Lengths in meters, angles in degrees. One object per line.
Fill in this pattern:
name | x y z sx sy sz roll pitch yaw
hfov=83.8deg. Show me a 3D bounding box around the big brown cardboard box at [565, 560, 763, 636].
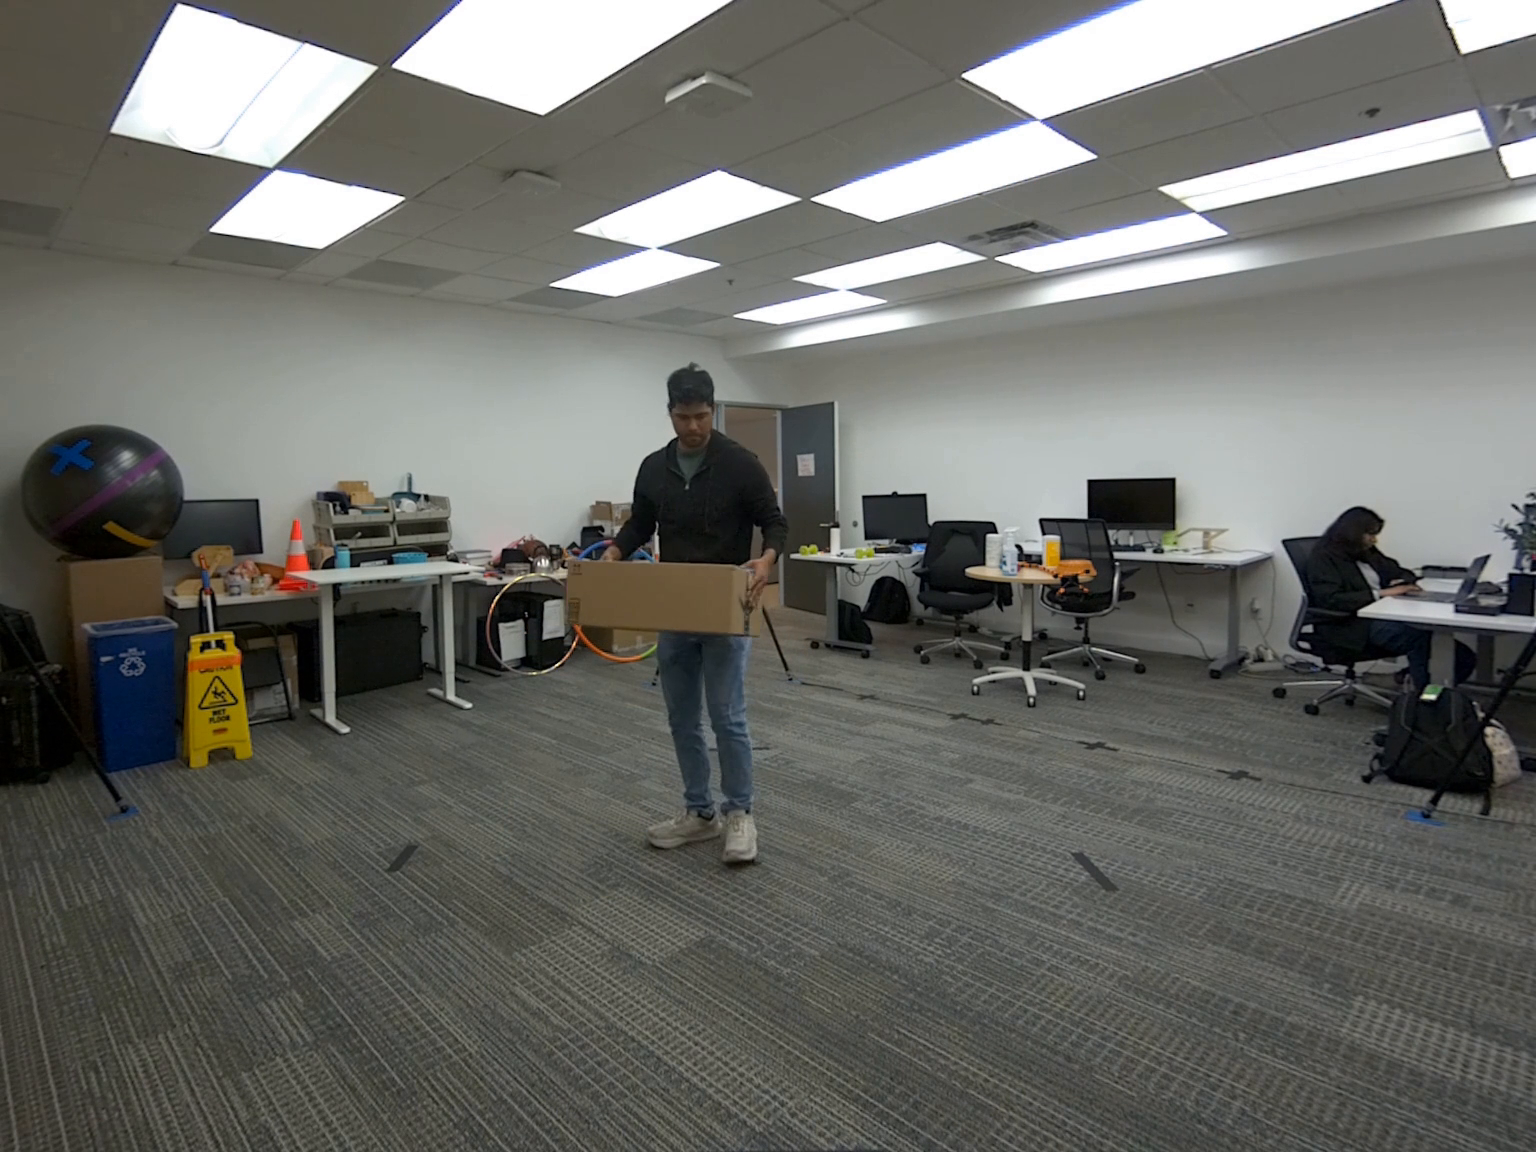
big brown cardboard box | -0.346 0.075 2.928 0.598 0.234 0.410 3 -4 14
